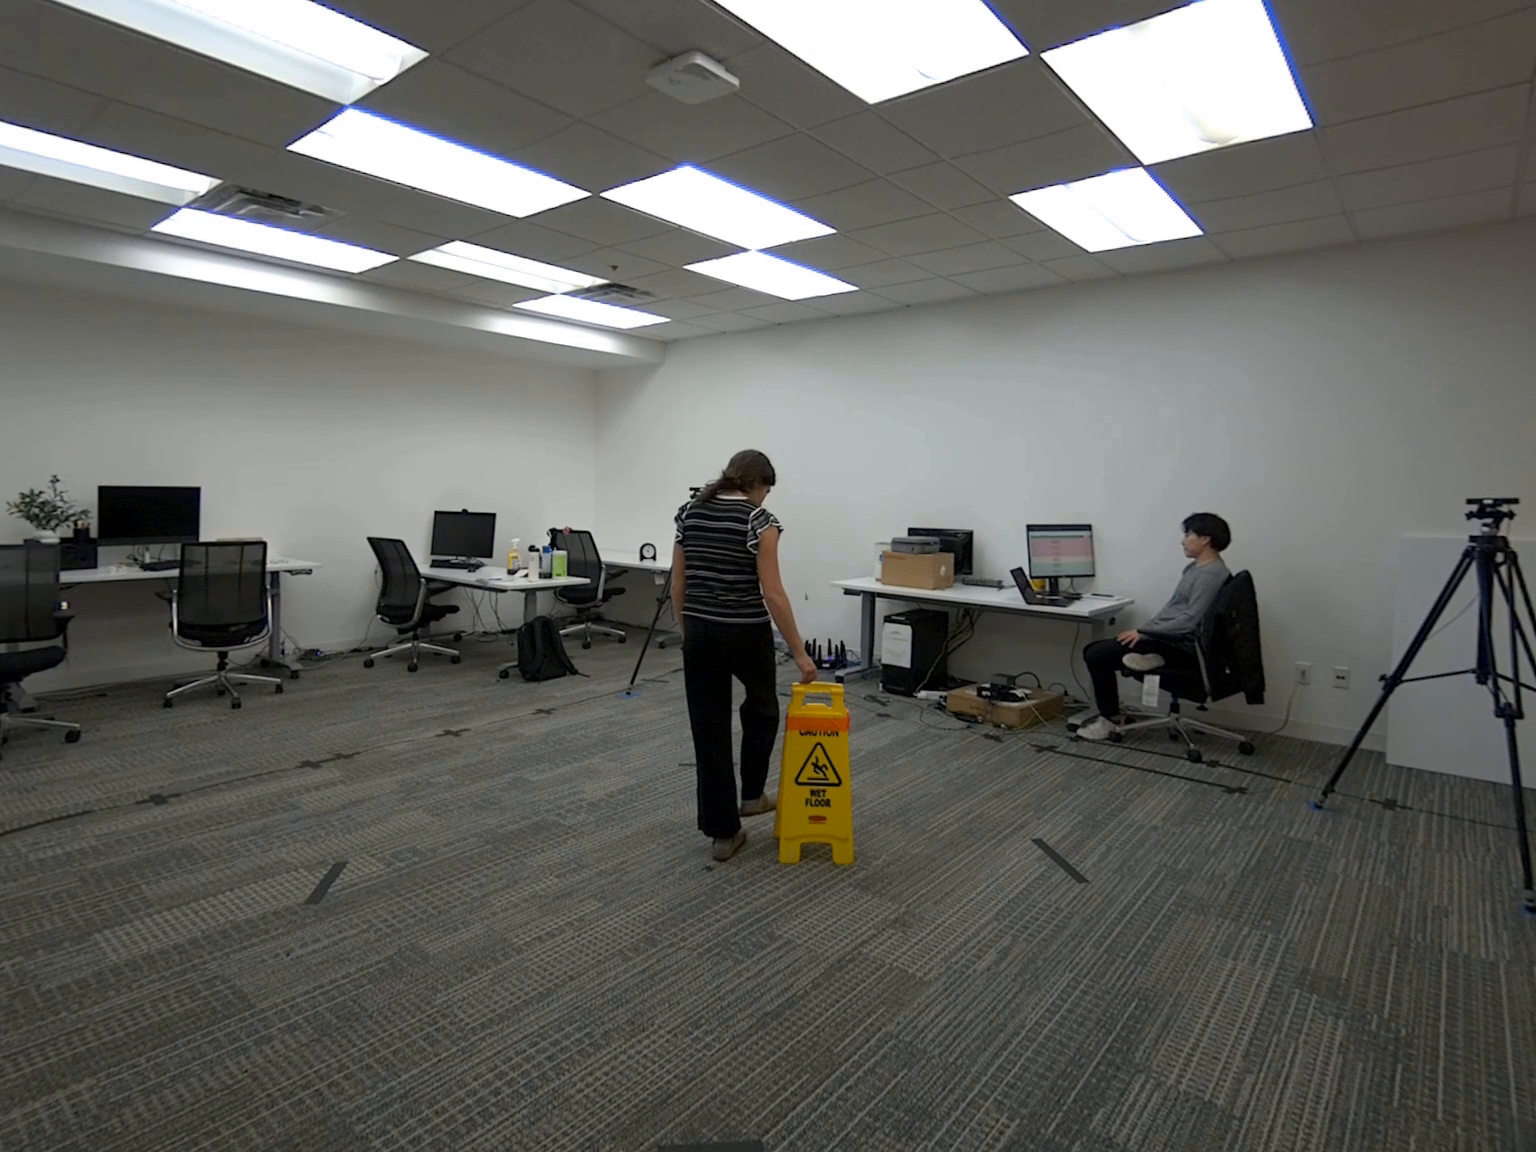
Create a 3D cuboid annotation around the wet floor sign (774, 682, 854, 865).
[{"bbox_3d":[0.172,0.737,3.270,0.281,0.643,0.292,1,4,-4],"label":"wet floor sign"}]
